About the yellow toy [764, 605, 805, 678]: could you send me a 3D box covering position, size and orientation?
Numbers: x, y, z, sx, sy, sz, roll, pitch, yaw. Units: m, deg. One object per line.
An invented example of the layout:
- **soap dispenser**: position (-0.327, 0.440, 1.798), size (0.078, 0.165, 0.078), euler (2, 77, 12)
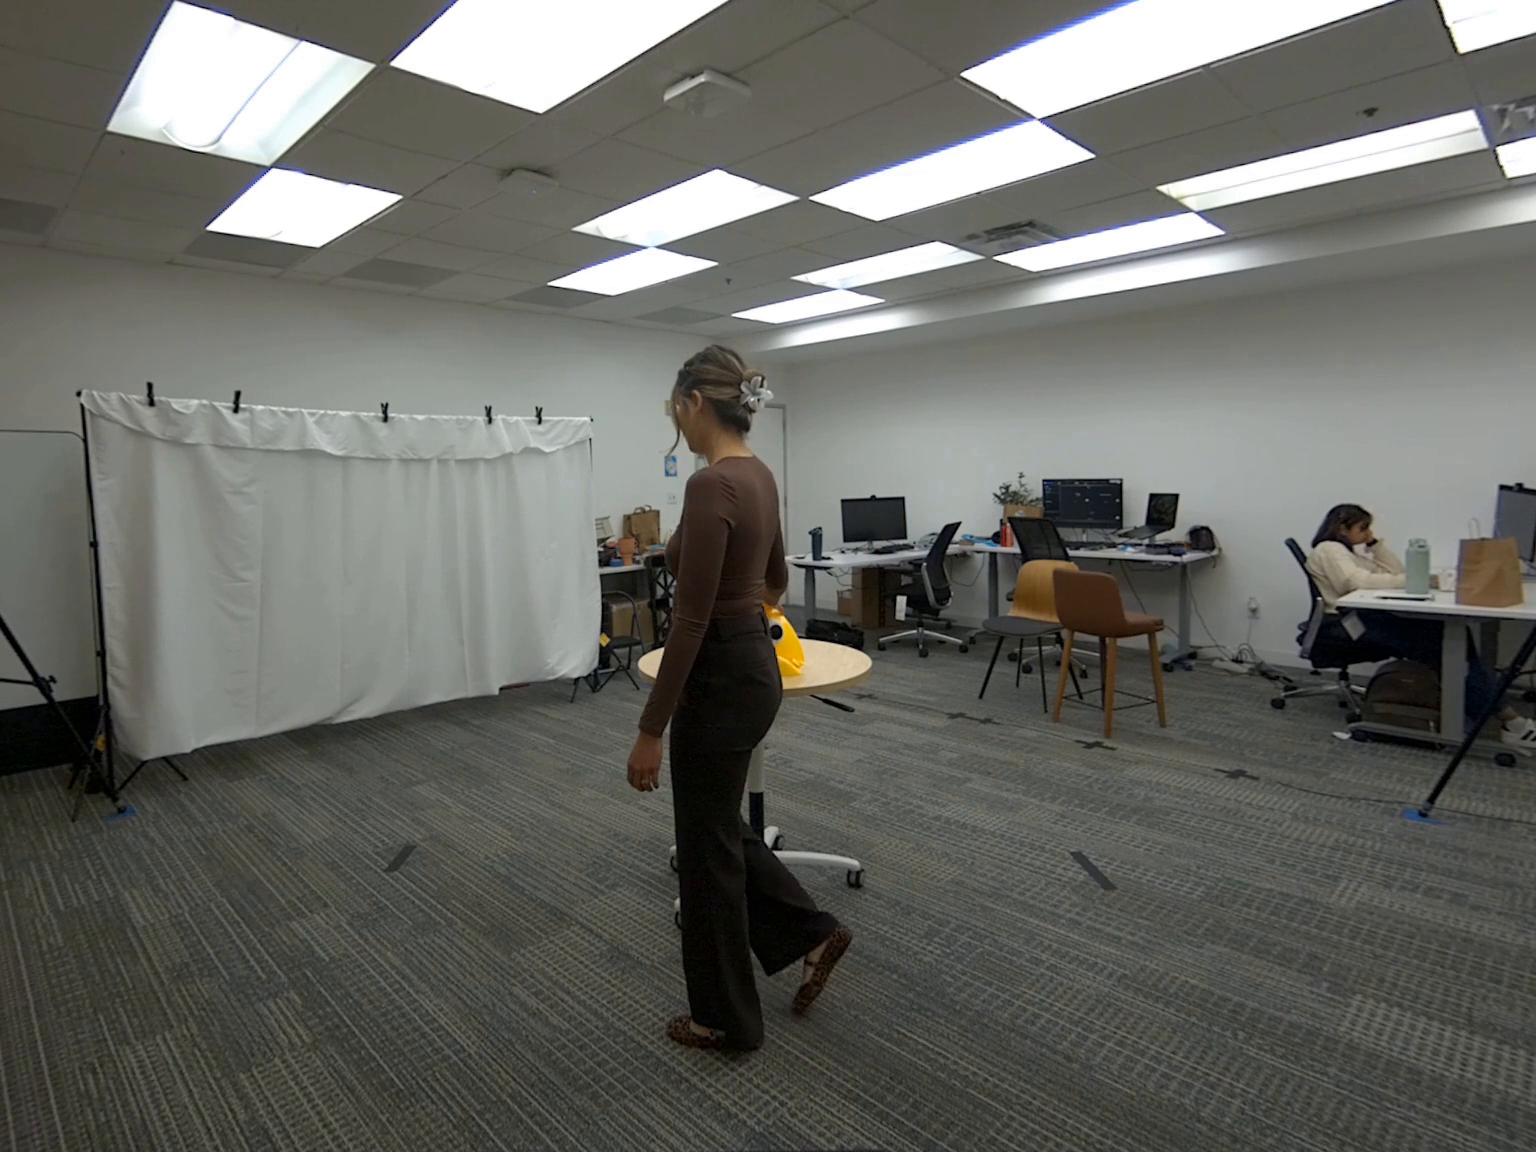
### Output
- **yellow toy**: position (0.024, 0.179, 2.685), size (0.195, 0.230, 0.204), euler (-1, 5, 8)
